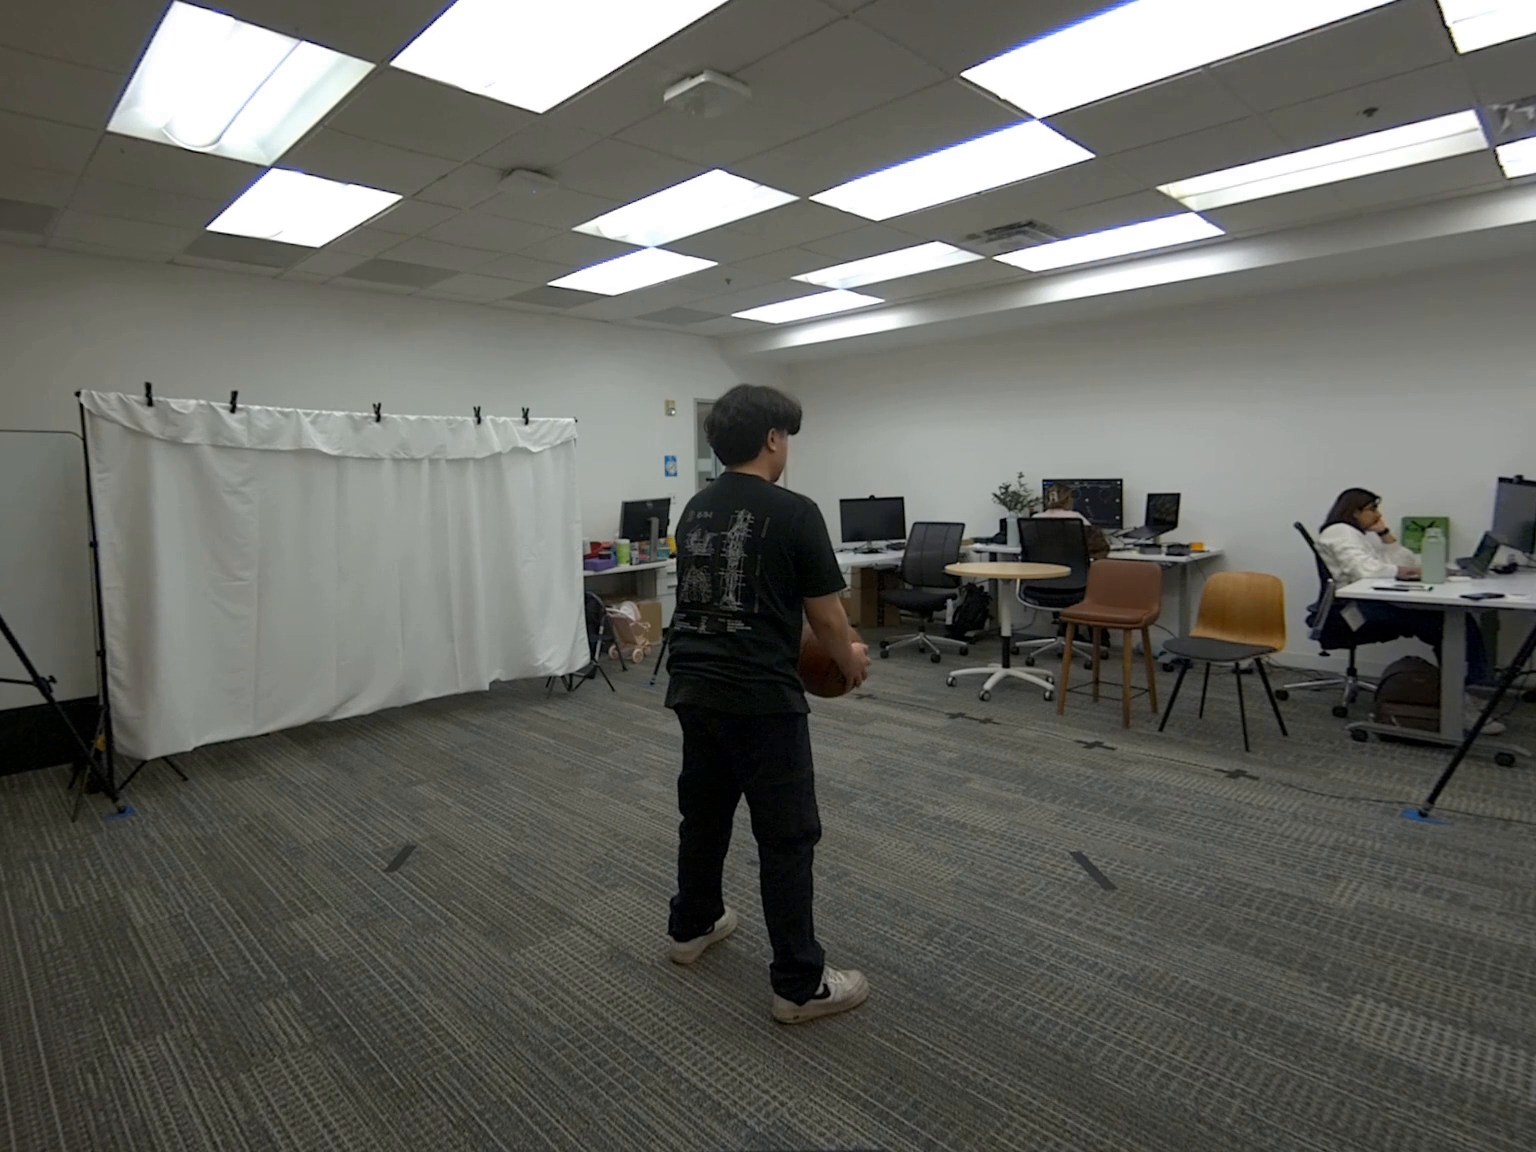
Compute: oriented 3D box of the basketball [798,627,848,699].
[{"bbox_3d":[0.189,0.248,2.591,0.236,0.235,0.237,-1,5,-2],"label":"basketball"}]
